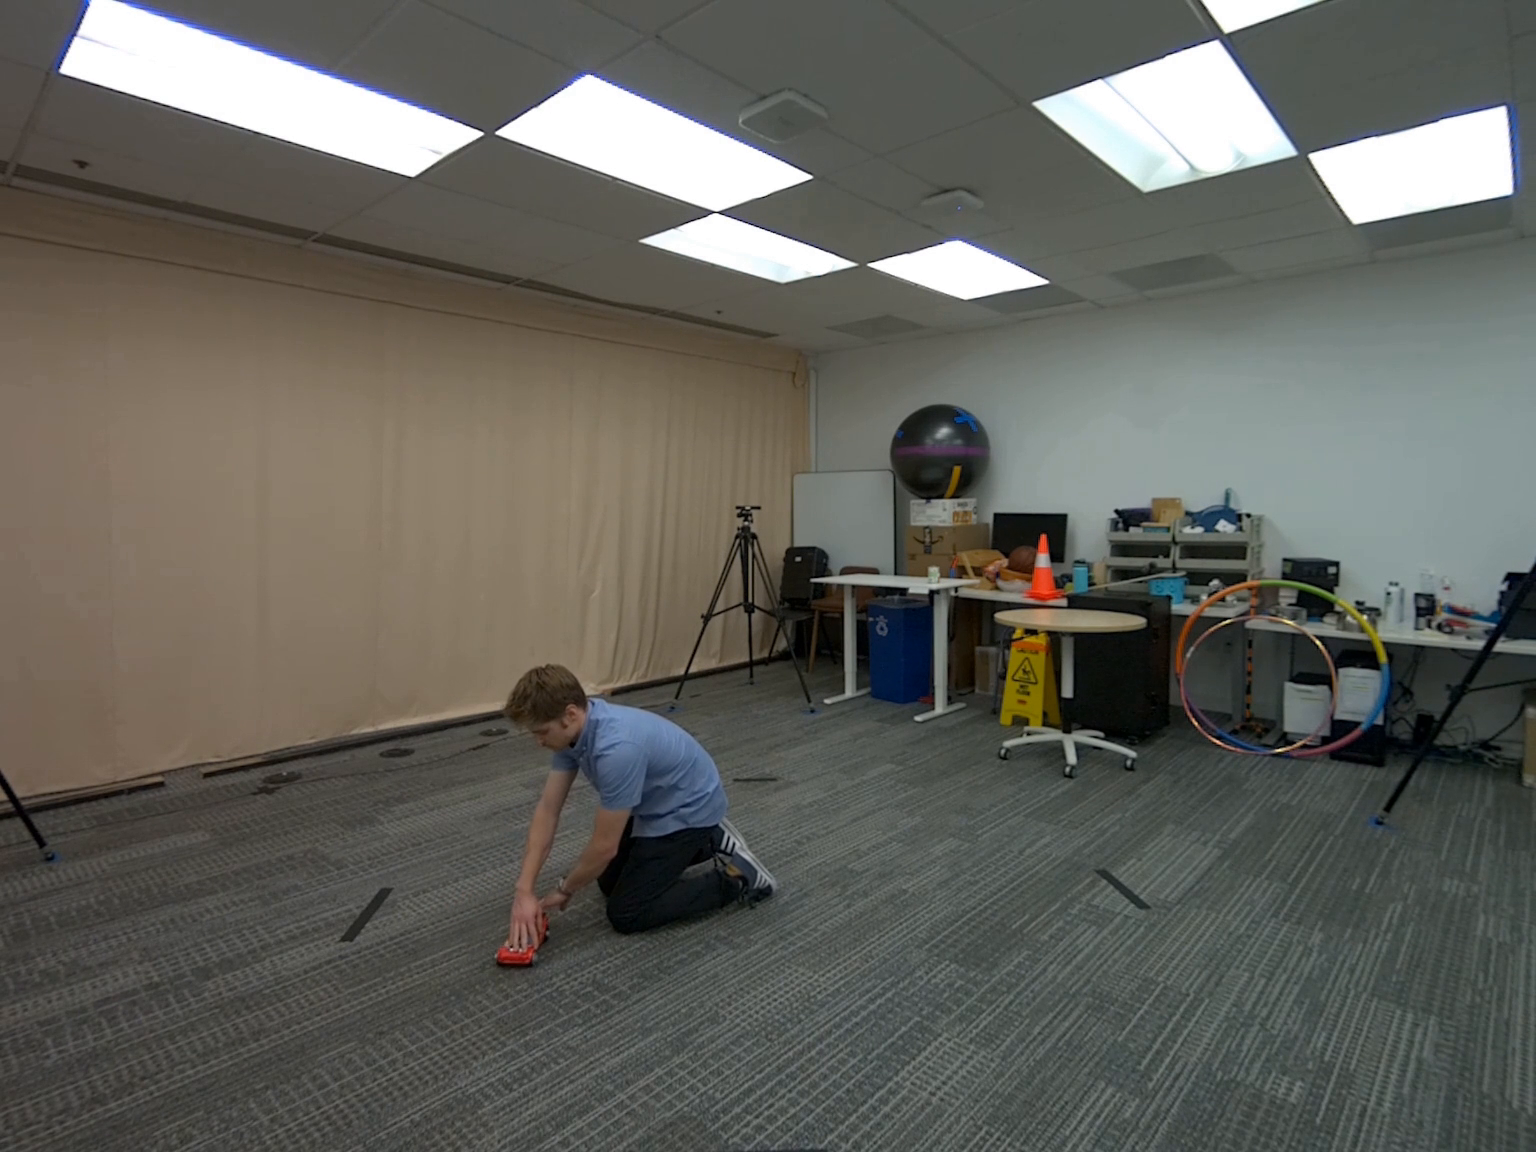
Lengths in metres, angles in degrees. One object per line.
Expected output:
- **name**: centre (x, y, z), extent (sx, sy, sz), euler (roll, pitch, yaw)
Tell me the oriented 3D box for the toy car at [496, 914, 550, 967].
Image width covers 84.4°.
- **toy car**: centre (-0.764, 1.151, 2.645), extent (0.130, 0.082, 0.257), euler (-2, 17, 0)
